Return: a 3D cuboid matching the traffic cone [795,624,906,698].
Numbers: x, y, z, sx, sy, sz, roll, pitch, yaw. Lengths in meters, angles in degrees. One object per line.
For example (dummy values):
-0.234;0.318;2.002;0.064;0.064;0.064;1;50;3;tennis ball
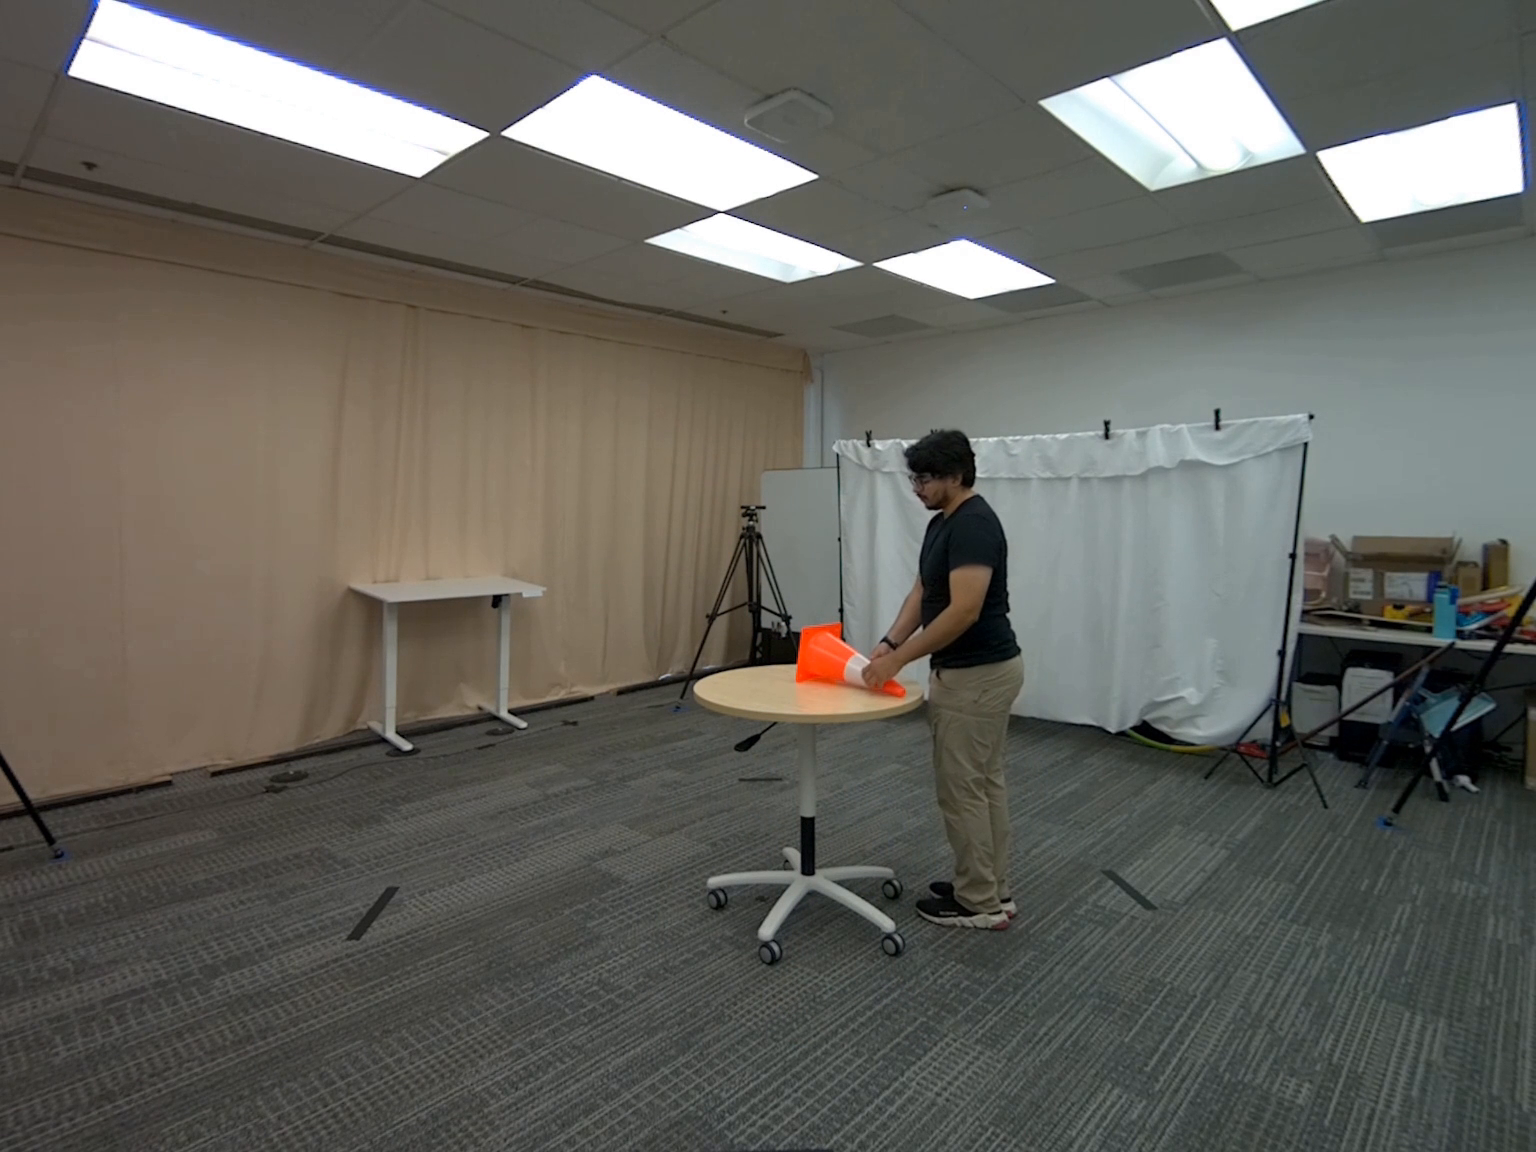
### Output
0.301;0.317;2.792;0.199;0.202;0.398;-3;16;-40;traffic cone
